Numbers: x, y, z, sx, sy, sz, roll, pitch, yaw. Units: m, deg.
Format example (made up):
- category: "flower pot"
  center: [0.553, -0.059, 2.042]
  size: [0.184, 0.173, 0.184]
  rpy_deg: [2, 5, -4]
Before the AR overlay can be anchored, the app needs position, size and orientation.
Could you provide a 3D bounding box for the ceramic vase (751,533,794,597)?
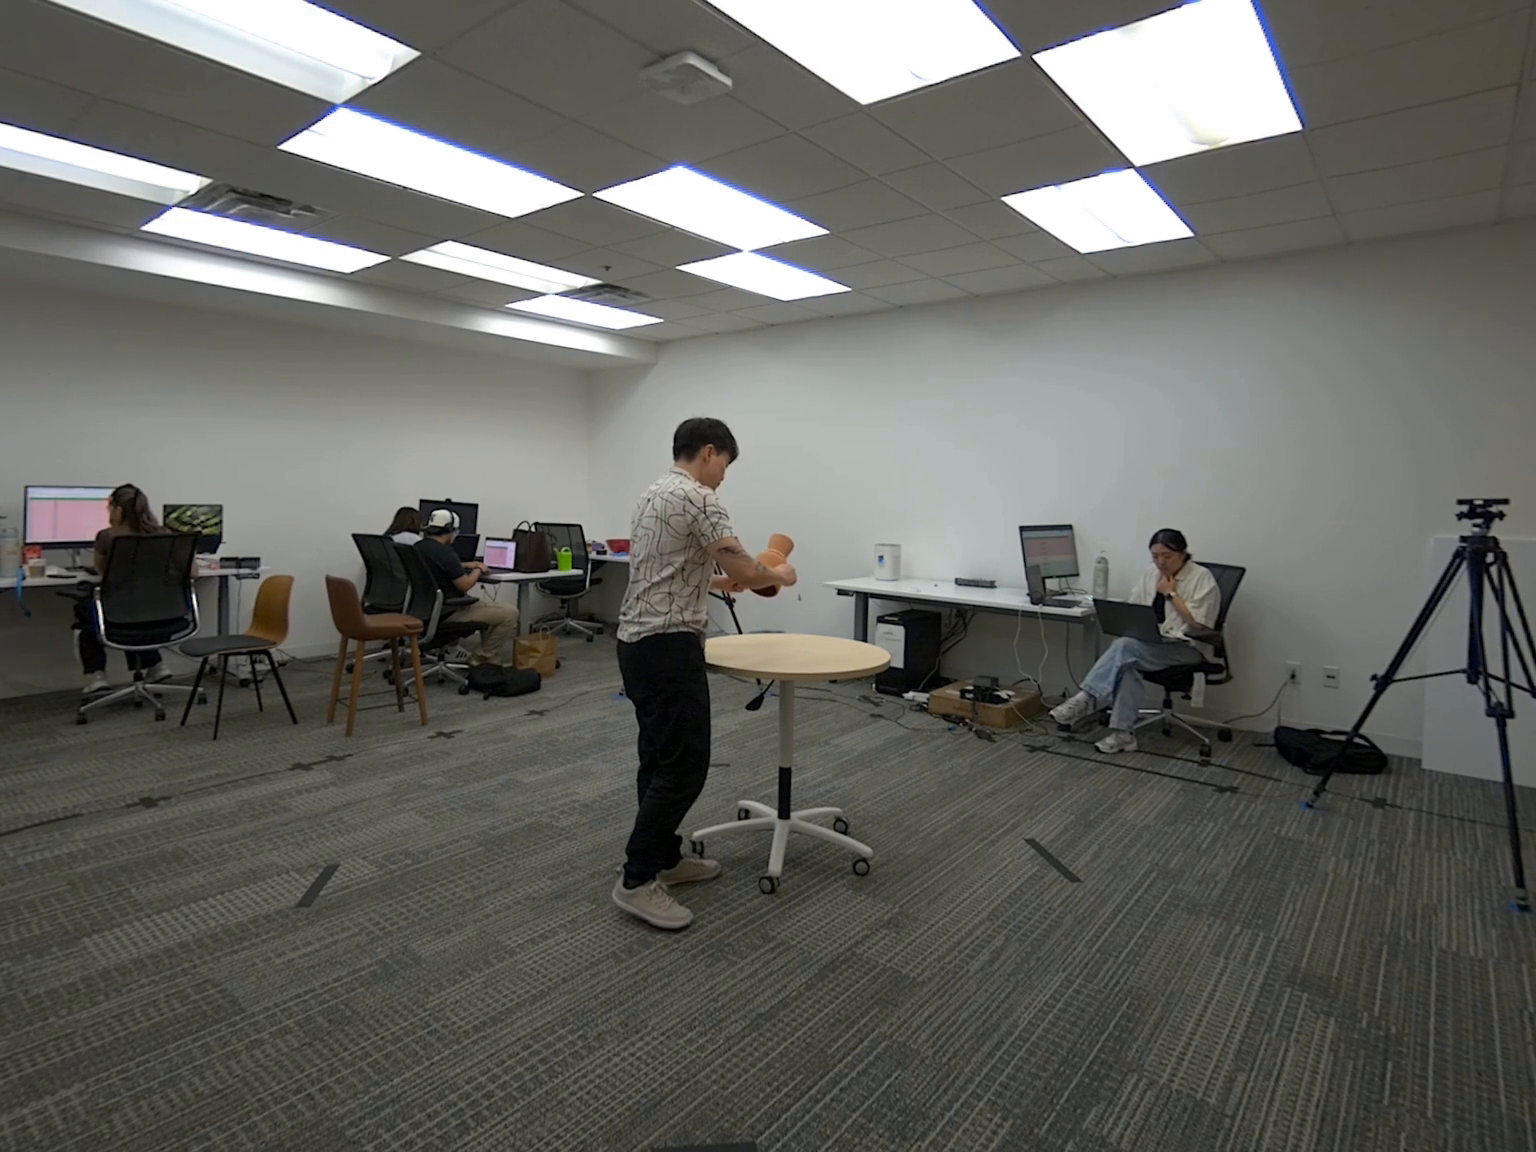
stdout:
- category: "ceramic vase"
  center: [0.006, -0.047, 3.161]
  size: [0.162, 0.222, 0.130]
  rpy_deg: [13, -37, 16]
